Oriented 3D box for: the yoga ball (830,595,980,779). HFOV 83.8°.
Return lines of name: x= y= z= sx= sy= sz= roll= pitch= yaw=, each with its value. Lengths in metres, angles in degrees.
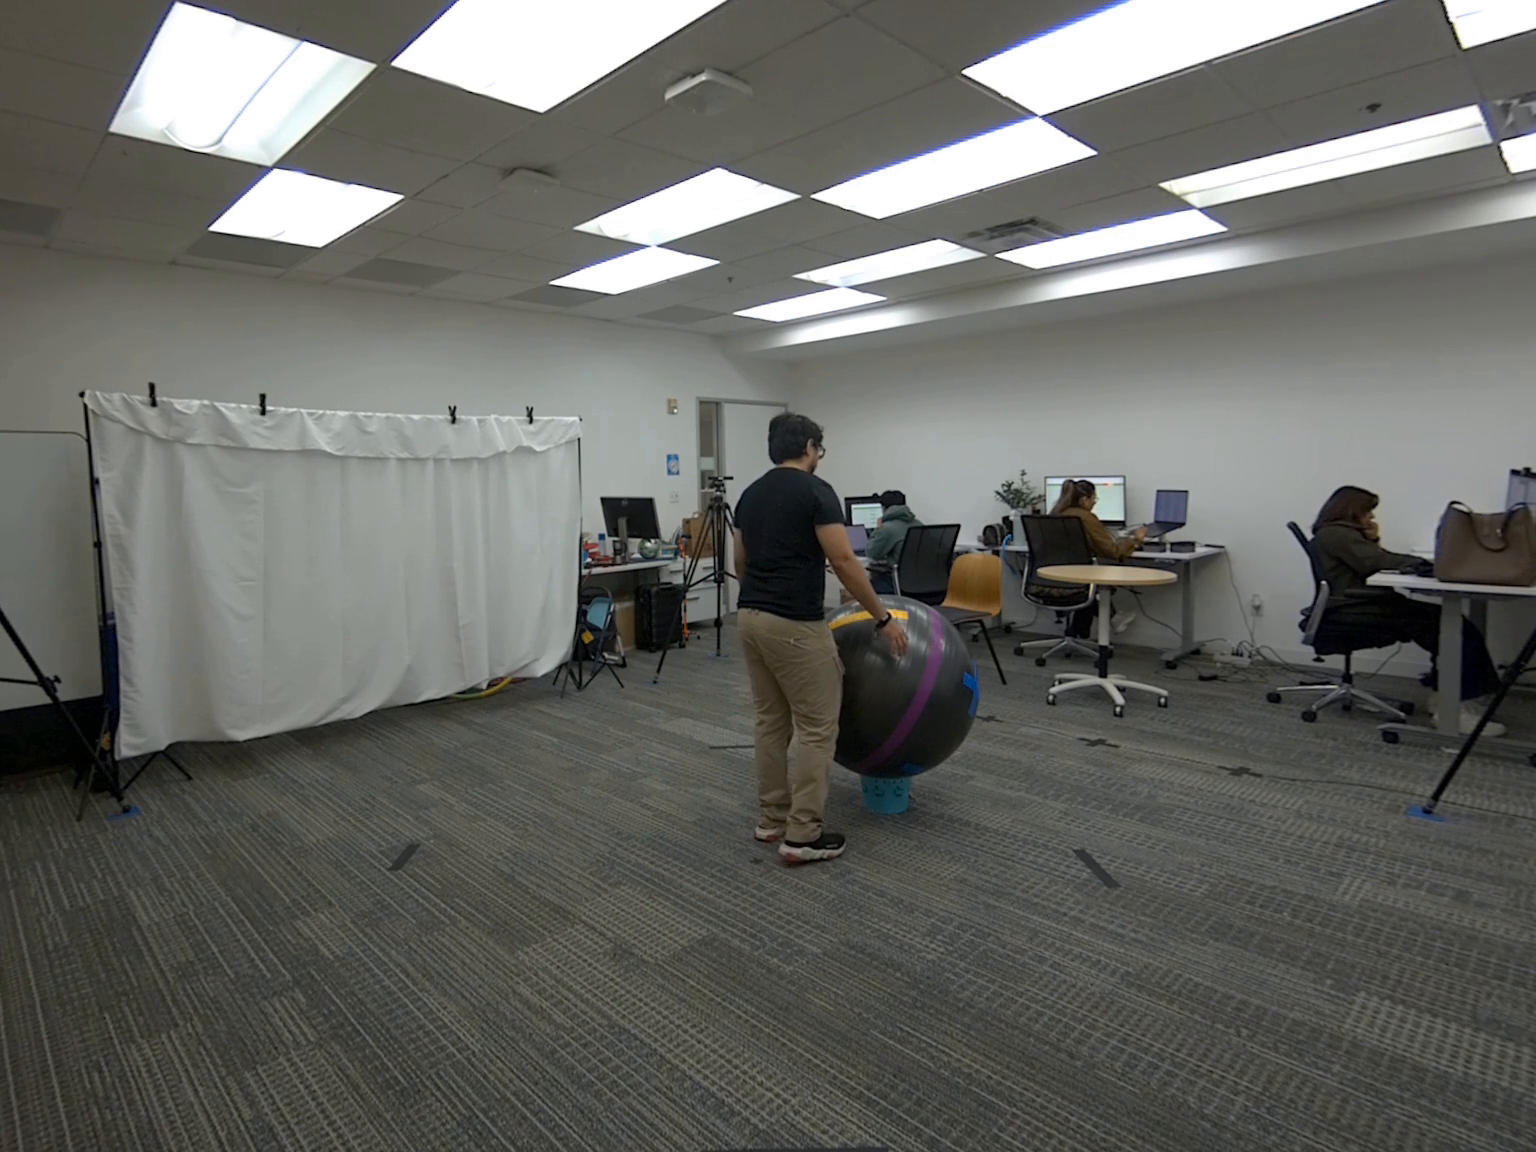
yoga ball: x=0.493 y=0.460 z=3.585 sx=0.757 sy=0.755 sz=0.762 roll=-1 pitch=5 yaw=-2
